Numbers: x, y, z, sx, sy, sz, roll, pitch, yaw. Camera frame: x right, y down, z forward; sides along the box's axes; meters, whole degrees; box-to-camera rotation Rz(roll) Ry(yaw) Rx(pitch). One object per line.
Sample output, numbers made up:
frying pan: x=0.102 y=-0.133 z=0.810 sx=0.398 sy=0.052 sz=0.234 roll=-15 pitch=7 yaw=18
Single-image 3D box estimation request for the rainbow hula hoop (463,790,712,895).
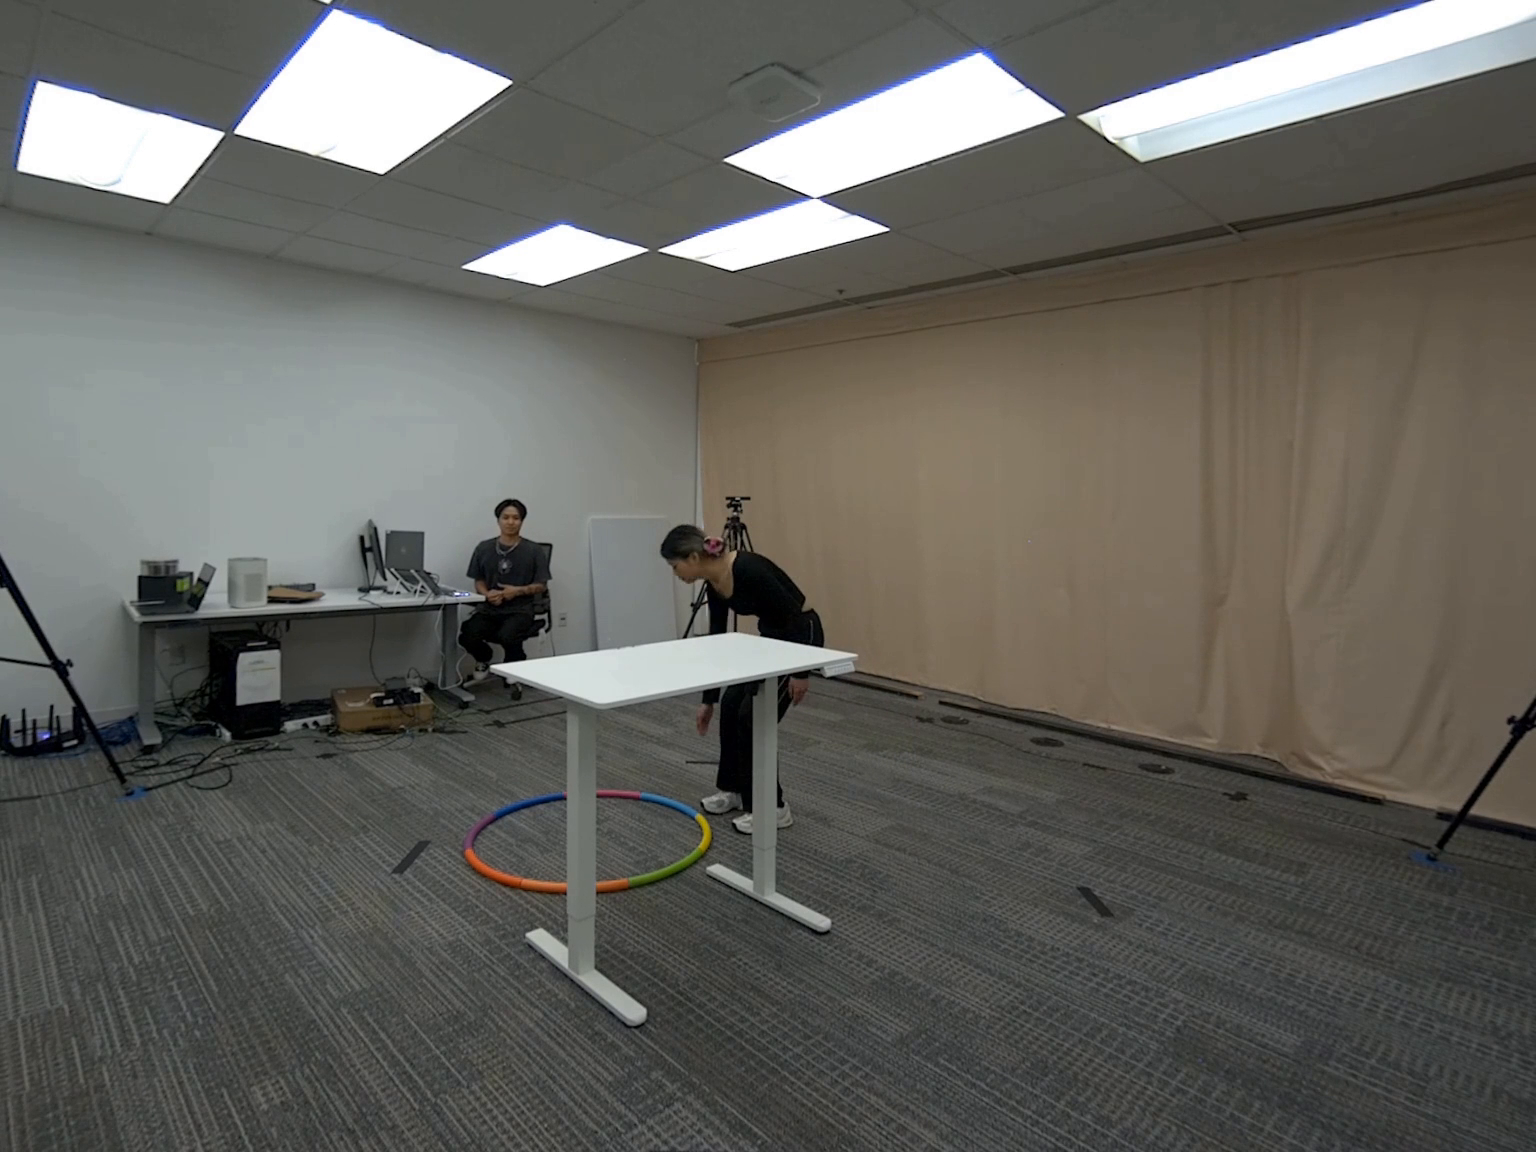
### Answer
rainbow hula hoop: x=-0.721 y=1.038 z=3.410 sx=0.978 sy=0.035 sz=0.982 roll=1 pitch=5 yaw=-1
